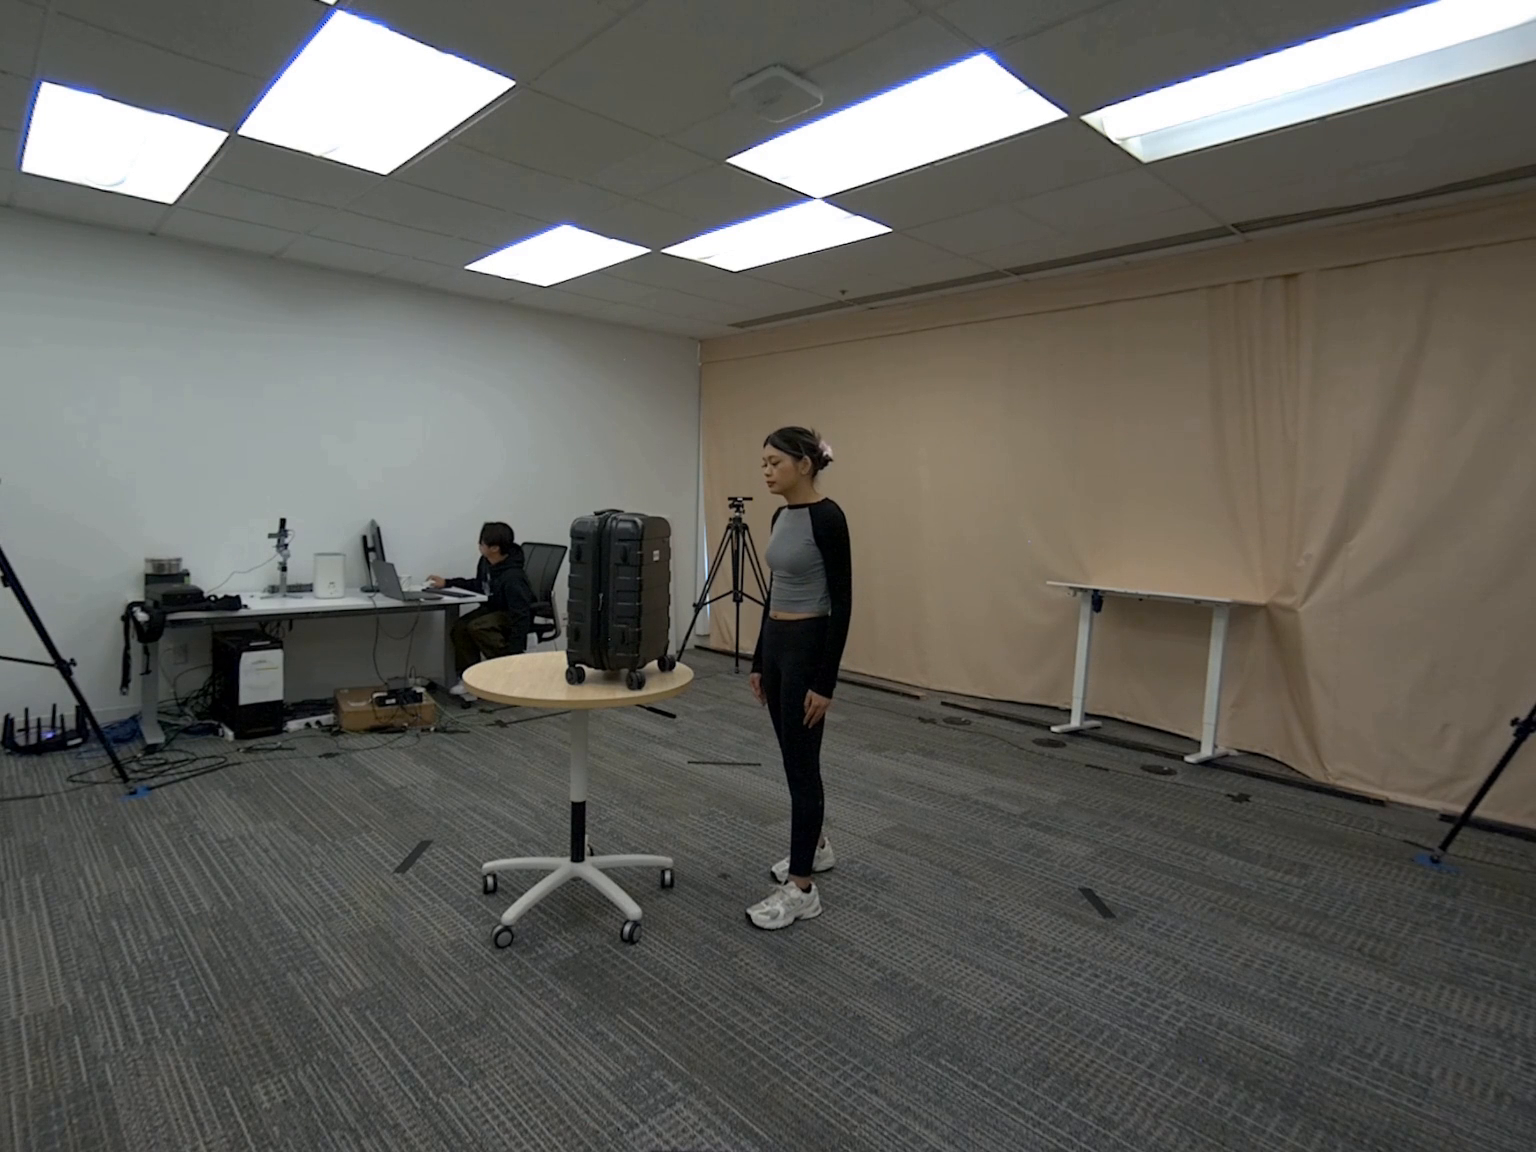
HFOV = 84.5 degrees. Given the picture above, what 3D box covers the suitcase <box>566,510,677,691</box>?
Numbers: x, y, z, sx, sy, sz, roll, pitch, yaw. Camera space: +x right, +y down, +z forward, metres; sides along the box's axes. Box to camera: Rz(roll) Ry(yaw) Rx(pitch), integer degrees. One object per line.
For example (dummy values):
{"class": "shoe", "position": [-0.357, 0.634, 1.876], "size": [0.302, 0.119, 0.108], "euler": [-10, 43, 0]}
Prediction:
{"class": "suitcase", "position": [-0.486, 0.057, 2.796], "size": [0.251, 0.548, 0.372], "euler": [2, 3, 13]}
